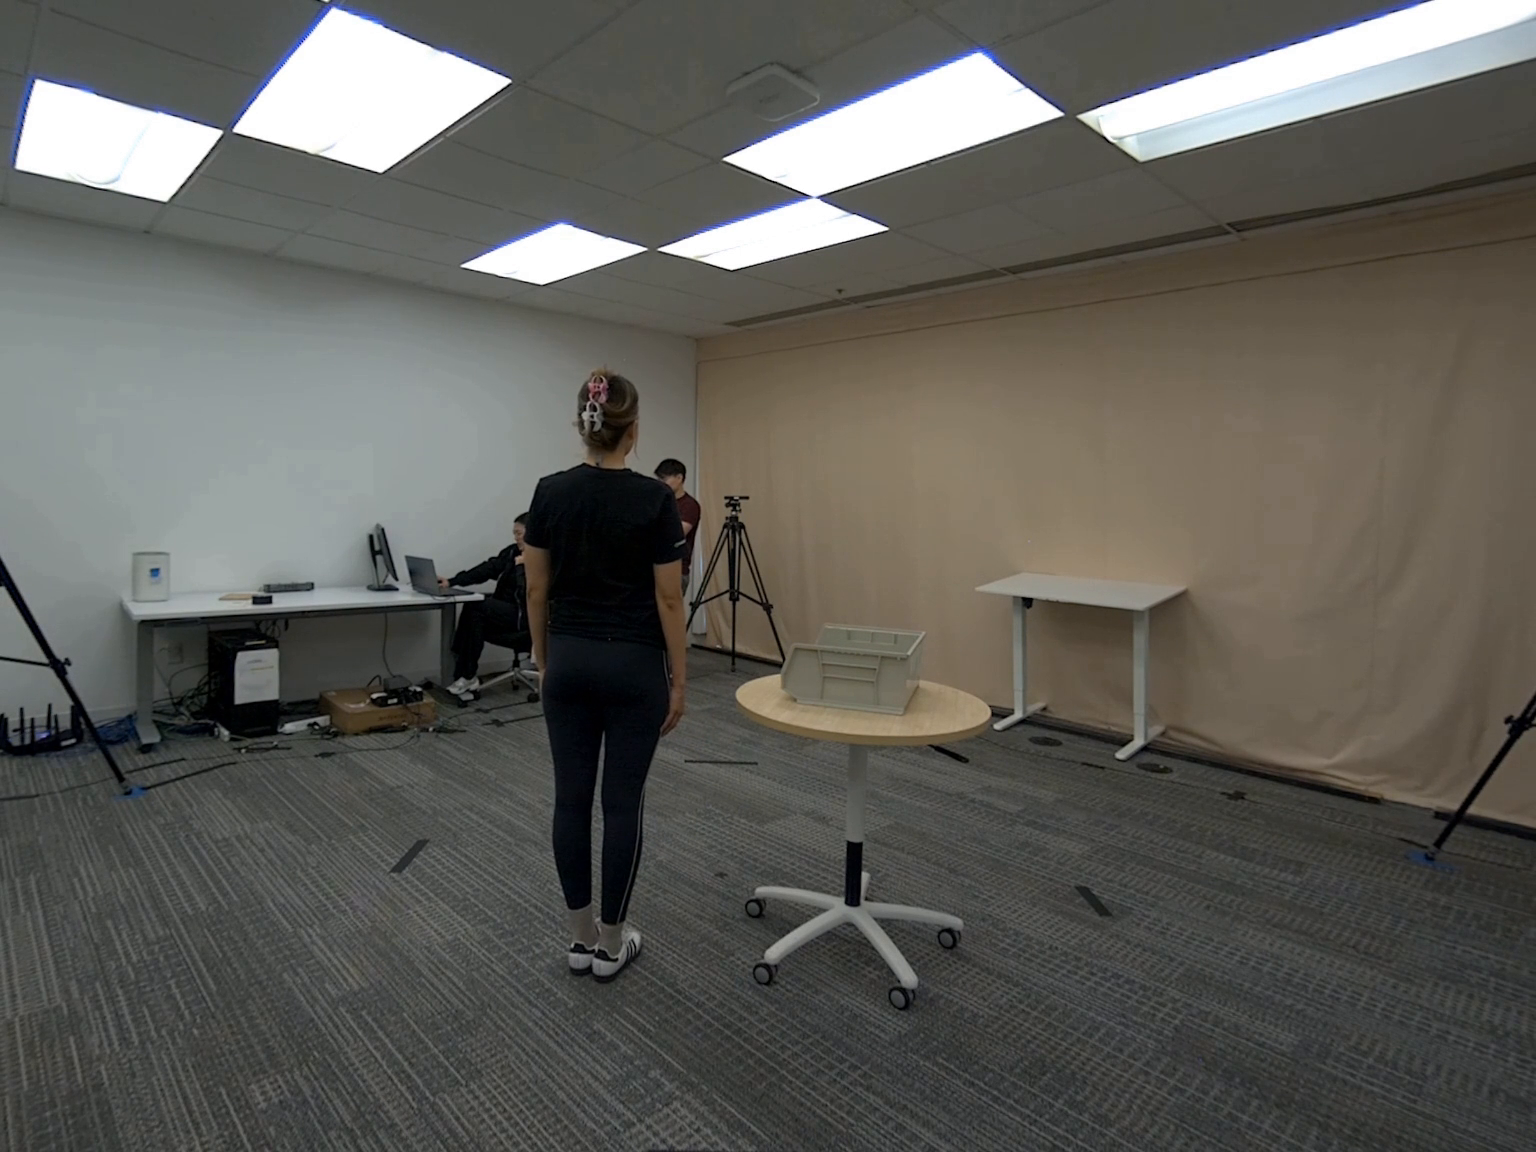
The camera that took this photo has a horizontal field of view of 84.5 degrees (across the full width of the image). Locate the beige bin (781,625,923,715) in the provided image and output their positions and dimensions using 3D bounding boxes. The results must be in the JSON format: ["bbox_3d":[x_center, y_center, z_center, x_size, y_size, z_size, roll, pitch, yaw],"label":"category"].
[{"bbox_3d":[0.270,0.282,2.636,0.383,0.188,0.417,5,5,17],"label":"beige bin"}]
